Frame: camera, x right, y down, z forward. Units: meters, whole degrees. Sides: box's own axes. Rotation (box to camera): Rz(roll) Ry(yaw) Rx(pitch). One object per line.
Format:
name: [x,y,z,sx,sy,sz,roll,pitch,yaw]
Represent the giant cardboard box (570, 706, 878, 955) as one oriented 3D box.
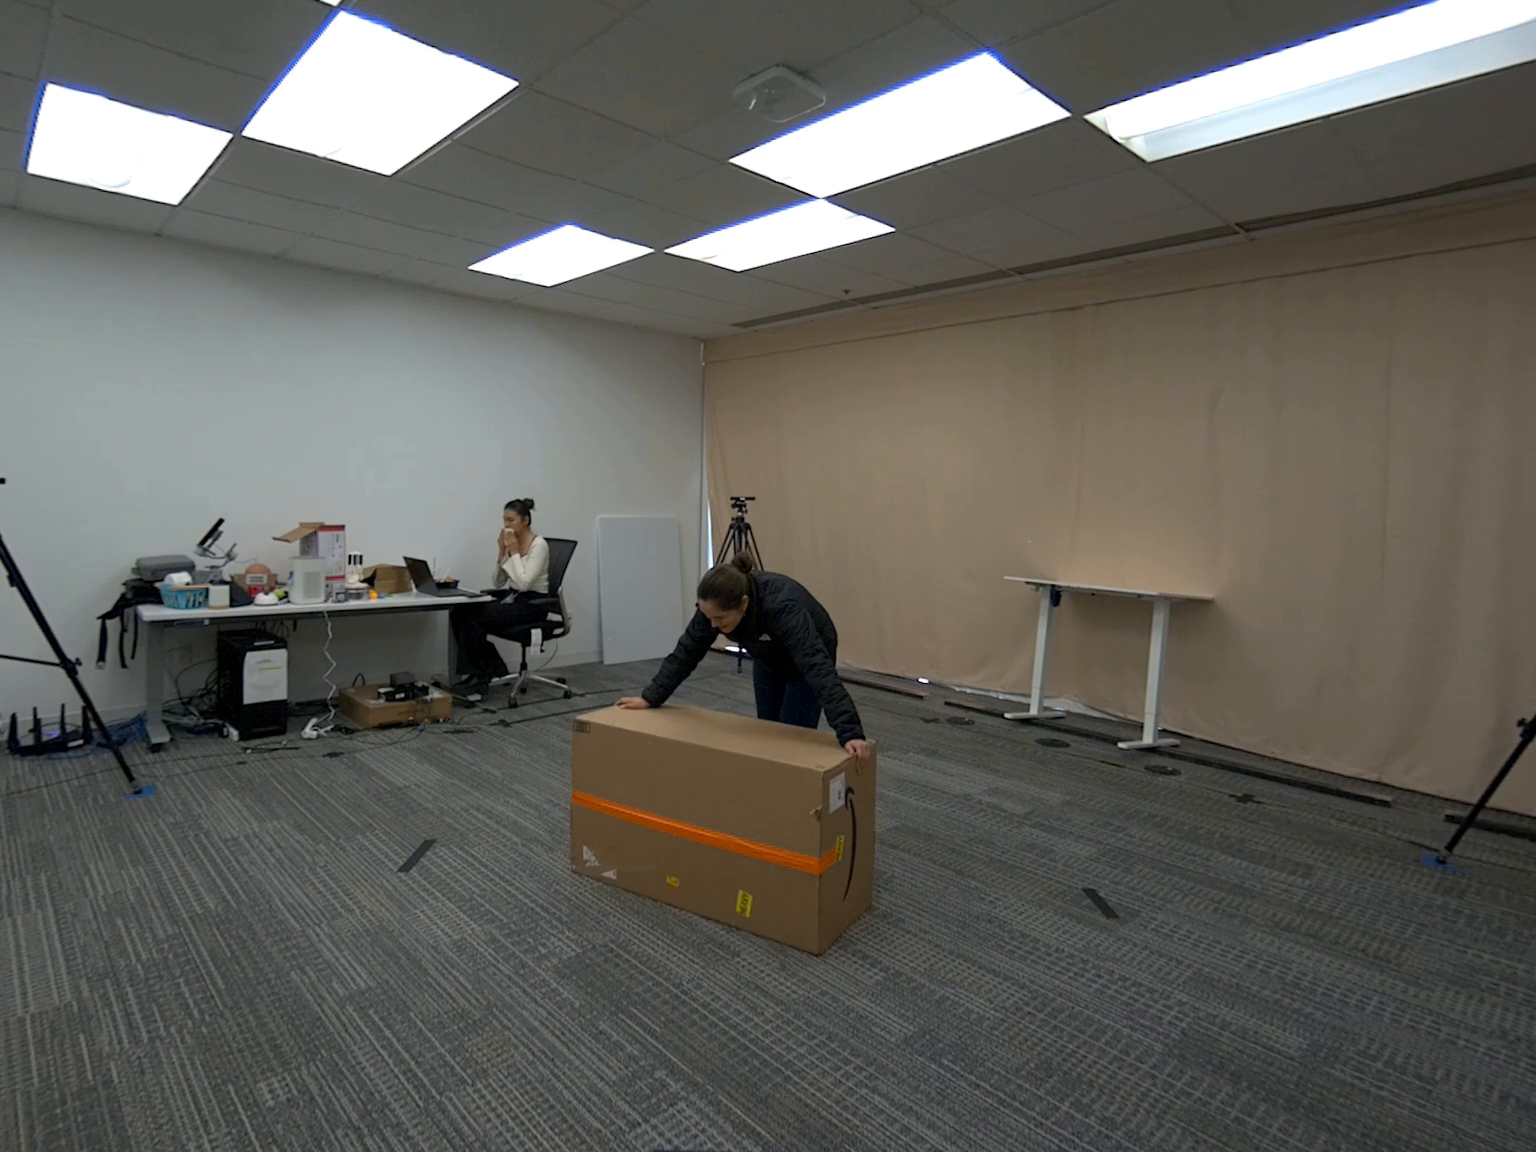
giant cardboard box: [-0.178,0.832,2.981,1.050,0.583,0.437,4,3,32]
